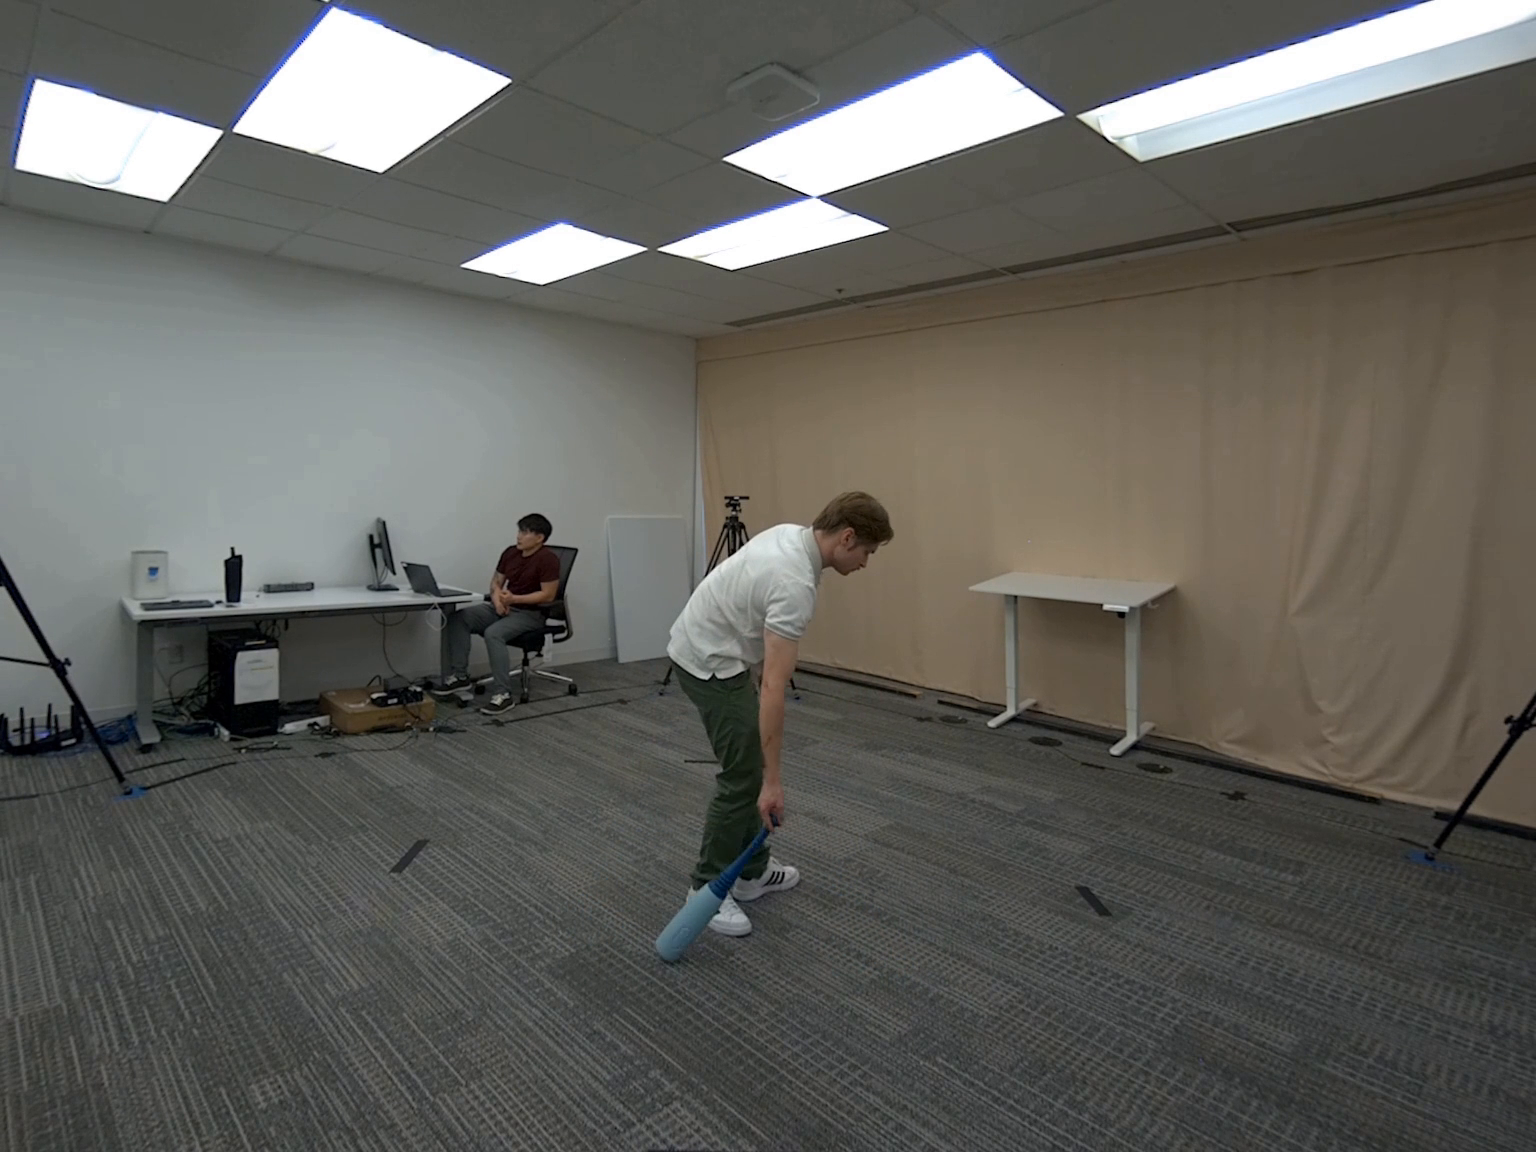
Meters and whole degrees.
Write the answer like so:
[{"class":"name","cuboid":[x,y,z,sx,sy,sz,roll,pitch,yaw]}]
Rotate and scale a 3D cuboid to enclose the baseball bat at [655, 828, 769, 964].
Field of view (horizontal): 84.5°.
[{"class":"baseball bat","cuboid":[-0.149,0.929,2.506,0.088,0.543,0.089,39,5,-6]}]
